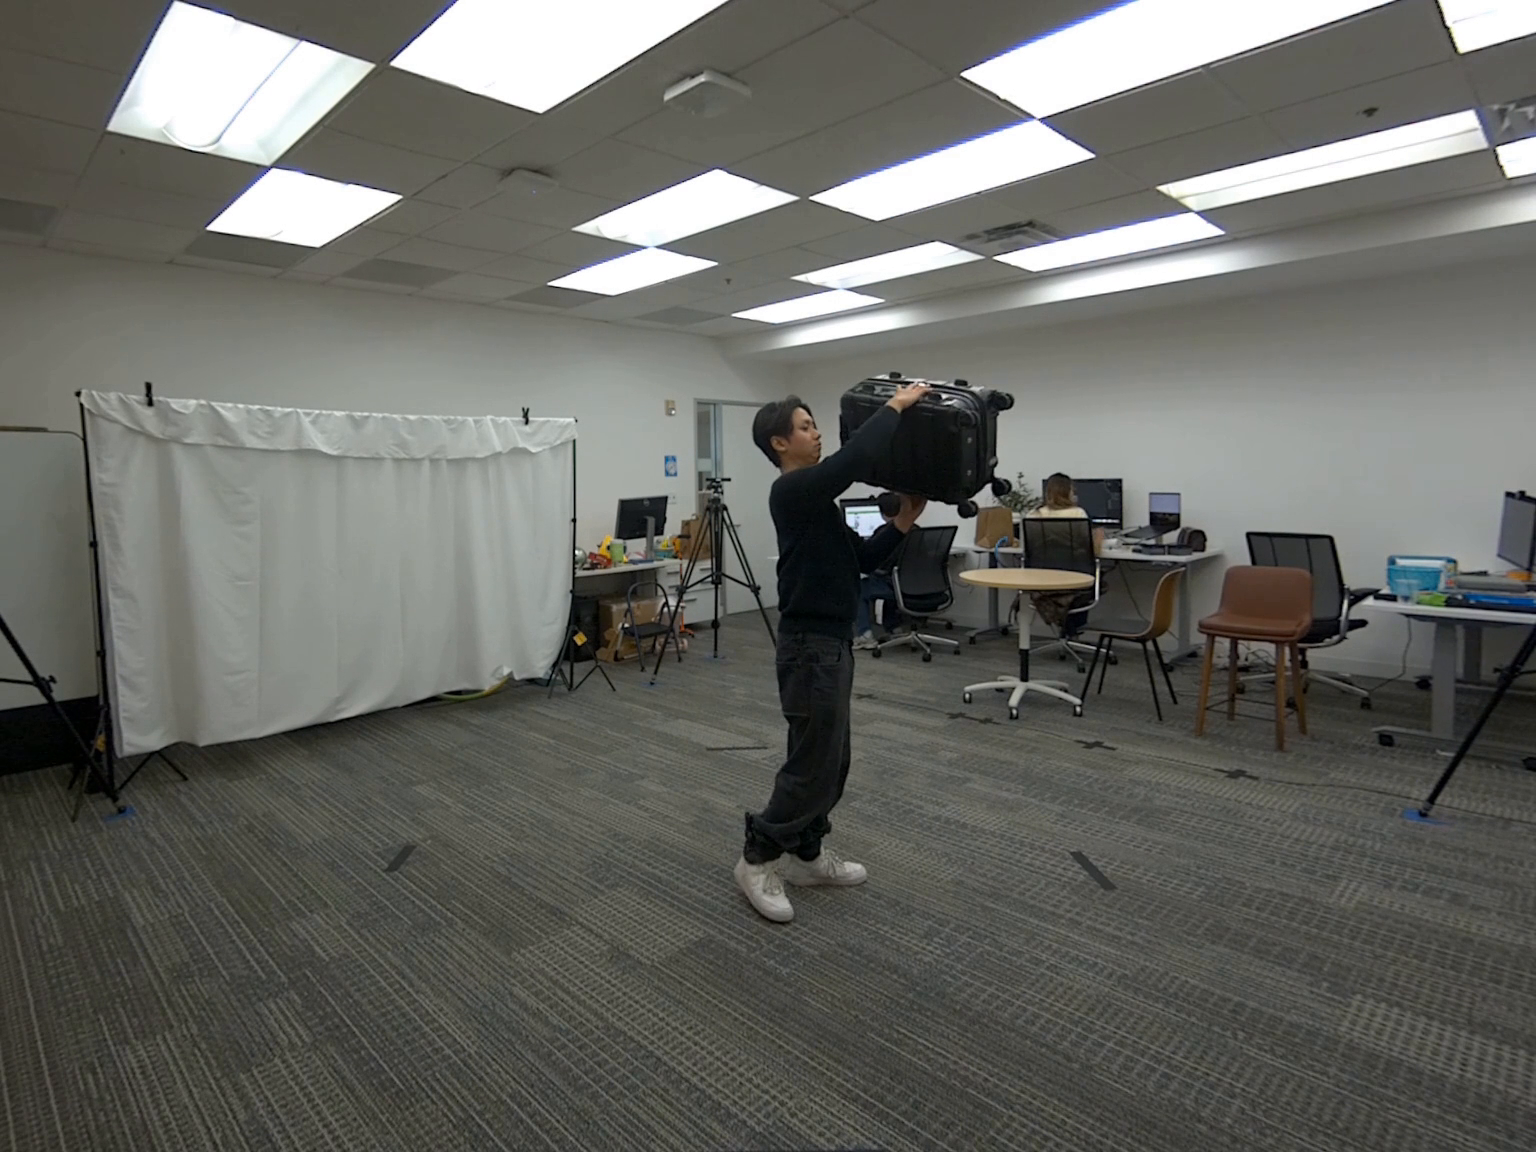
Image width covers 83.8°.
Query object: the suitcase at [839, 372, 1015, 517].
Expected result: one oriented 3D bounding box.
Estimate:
[{"bbox_3d":[0.506,-0.464,2.863,0.245,0.366,0.570,-28,34,-36],"label":"suitcase"}]
